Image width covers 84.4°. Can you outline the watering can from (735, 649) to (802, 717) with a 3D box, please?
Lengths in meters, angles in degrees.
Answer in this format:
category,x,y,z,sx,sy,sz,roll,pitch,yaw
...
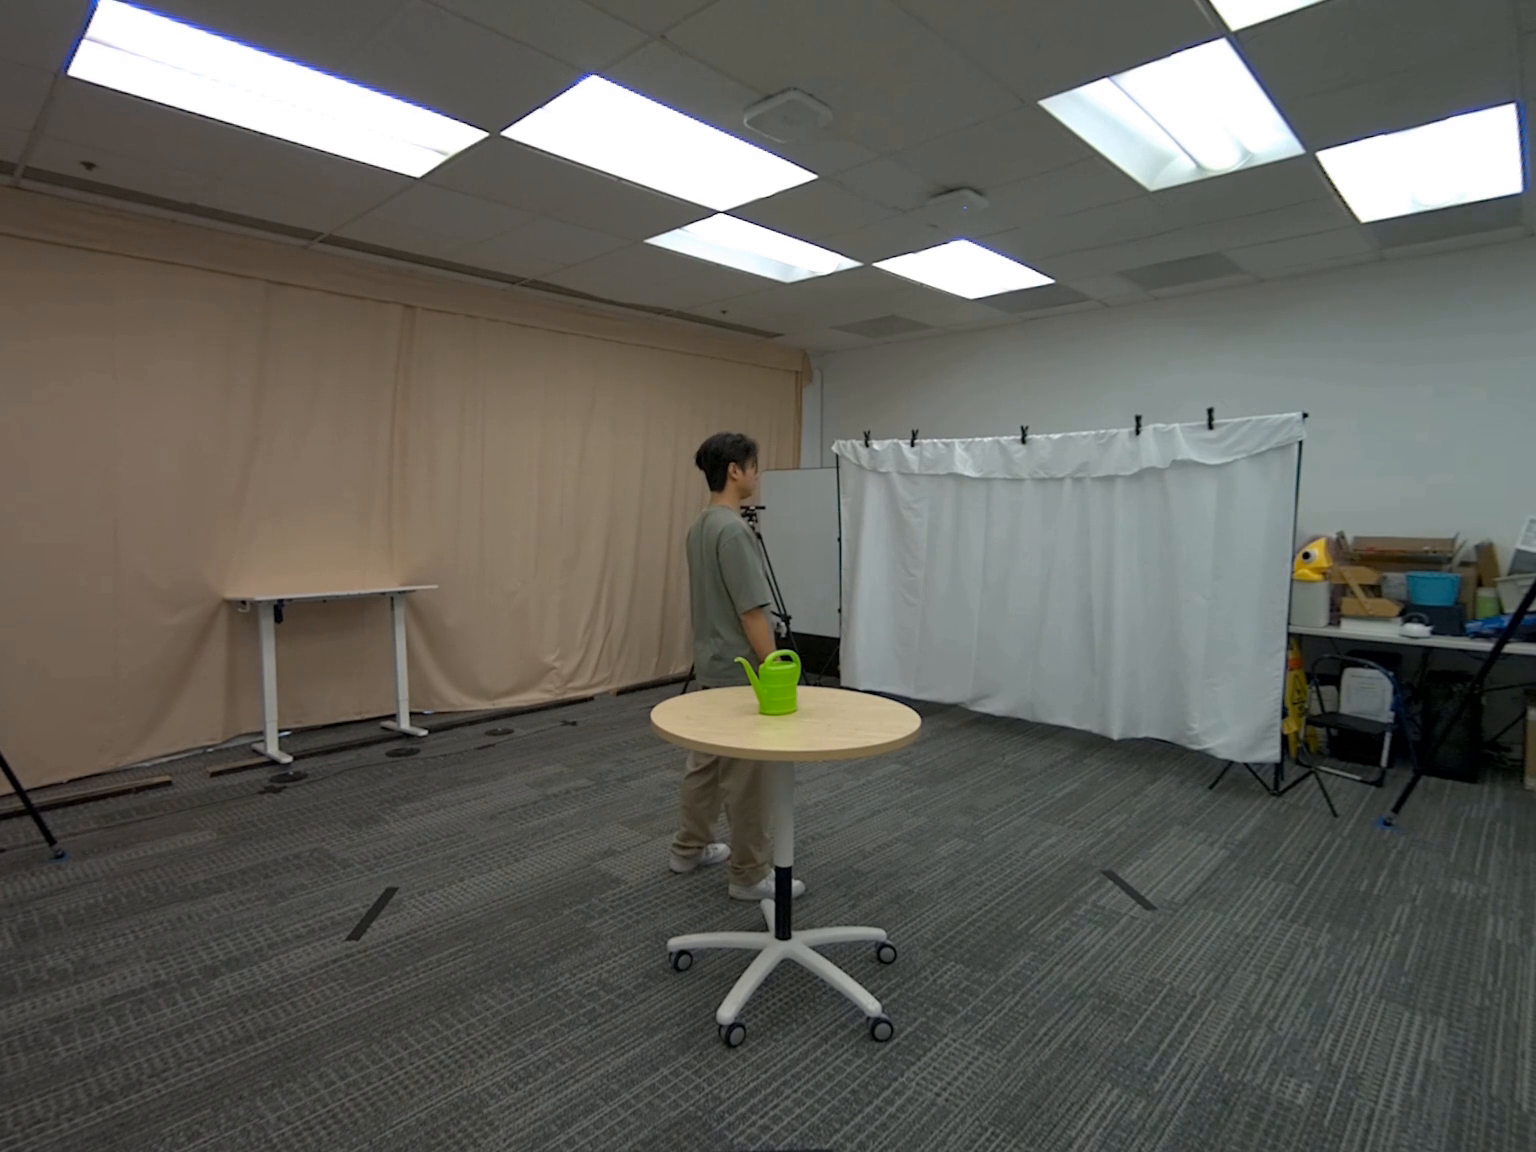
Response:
category,x,y,z,sx,sy,sz,roll,pitch,yaw
watering can,0.001,0.308,2.415,0.270,0.176,0.101,-2,3,-35
